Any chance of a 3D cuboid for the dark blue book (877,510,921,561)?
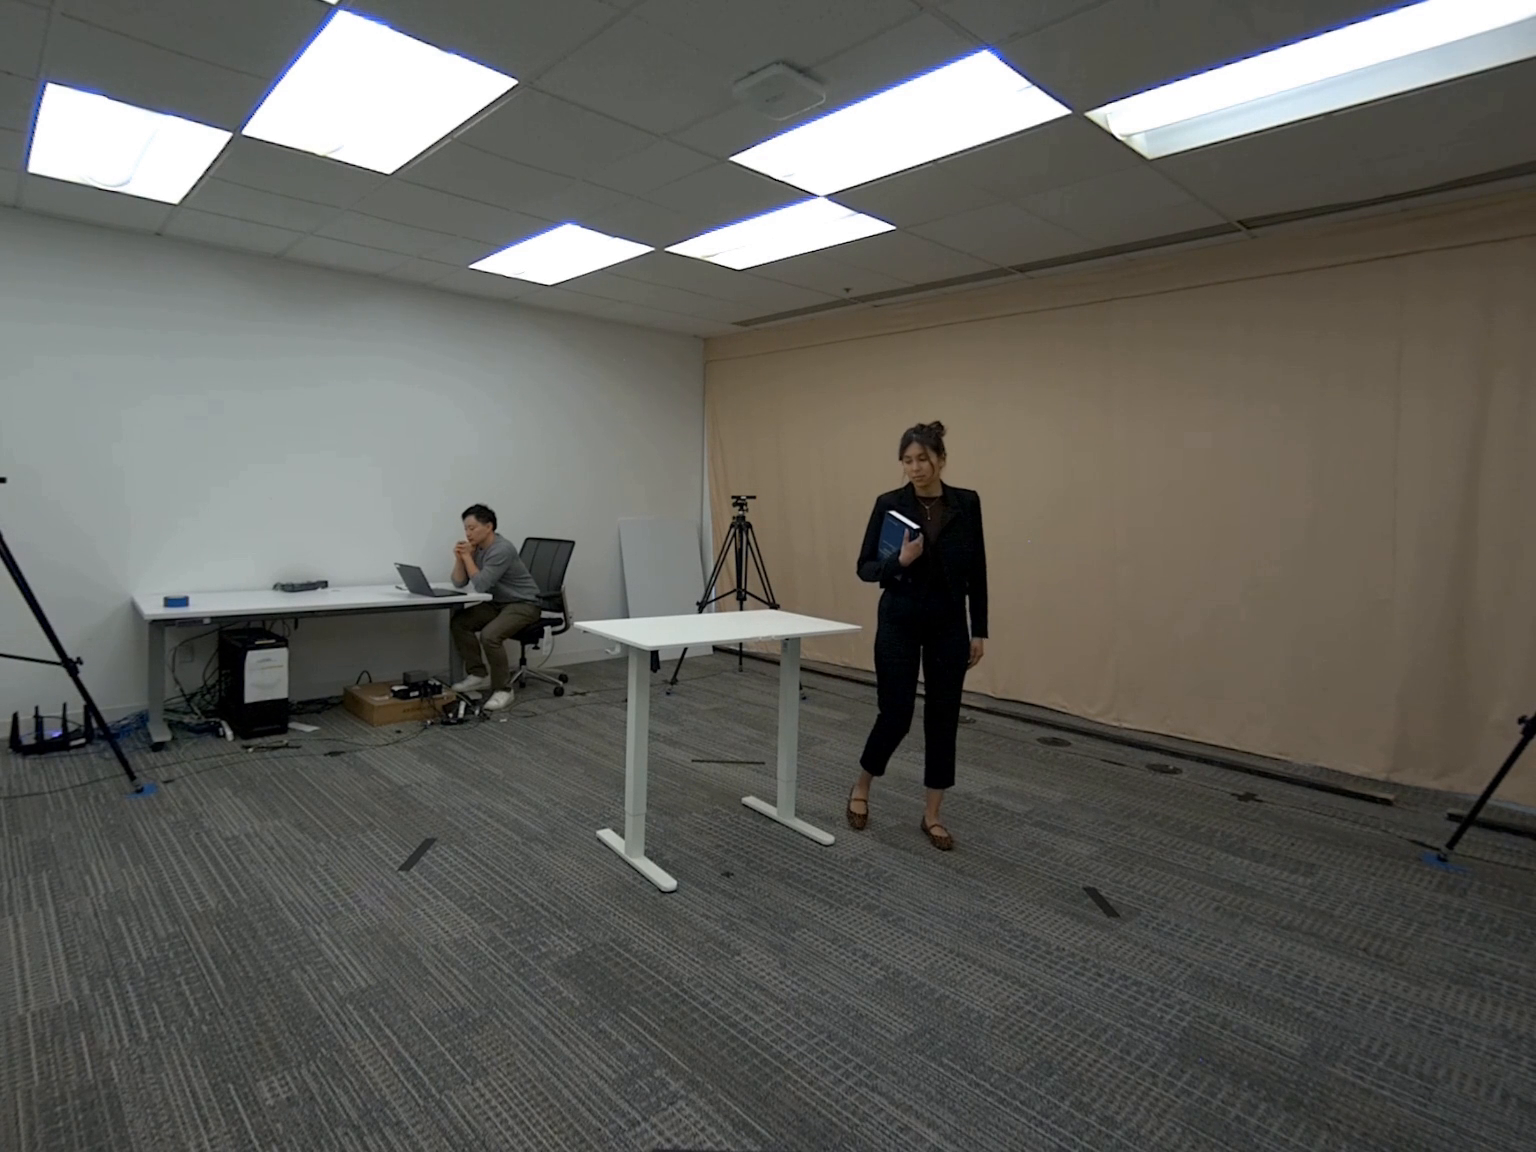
[{"bbox_3d":[0.507,-0.124,3.391,0.044,0.241,0.169,-12,36,-33],"label":"dark blue book"}]
